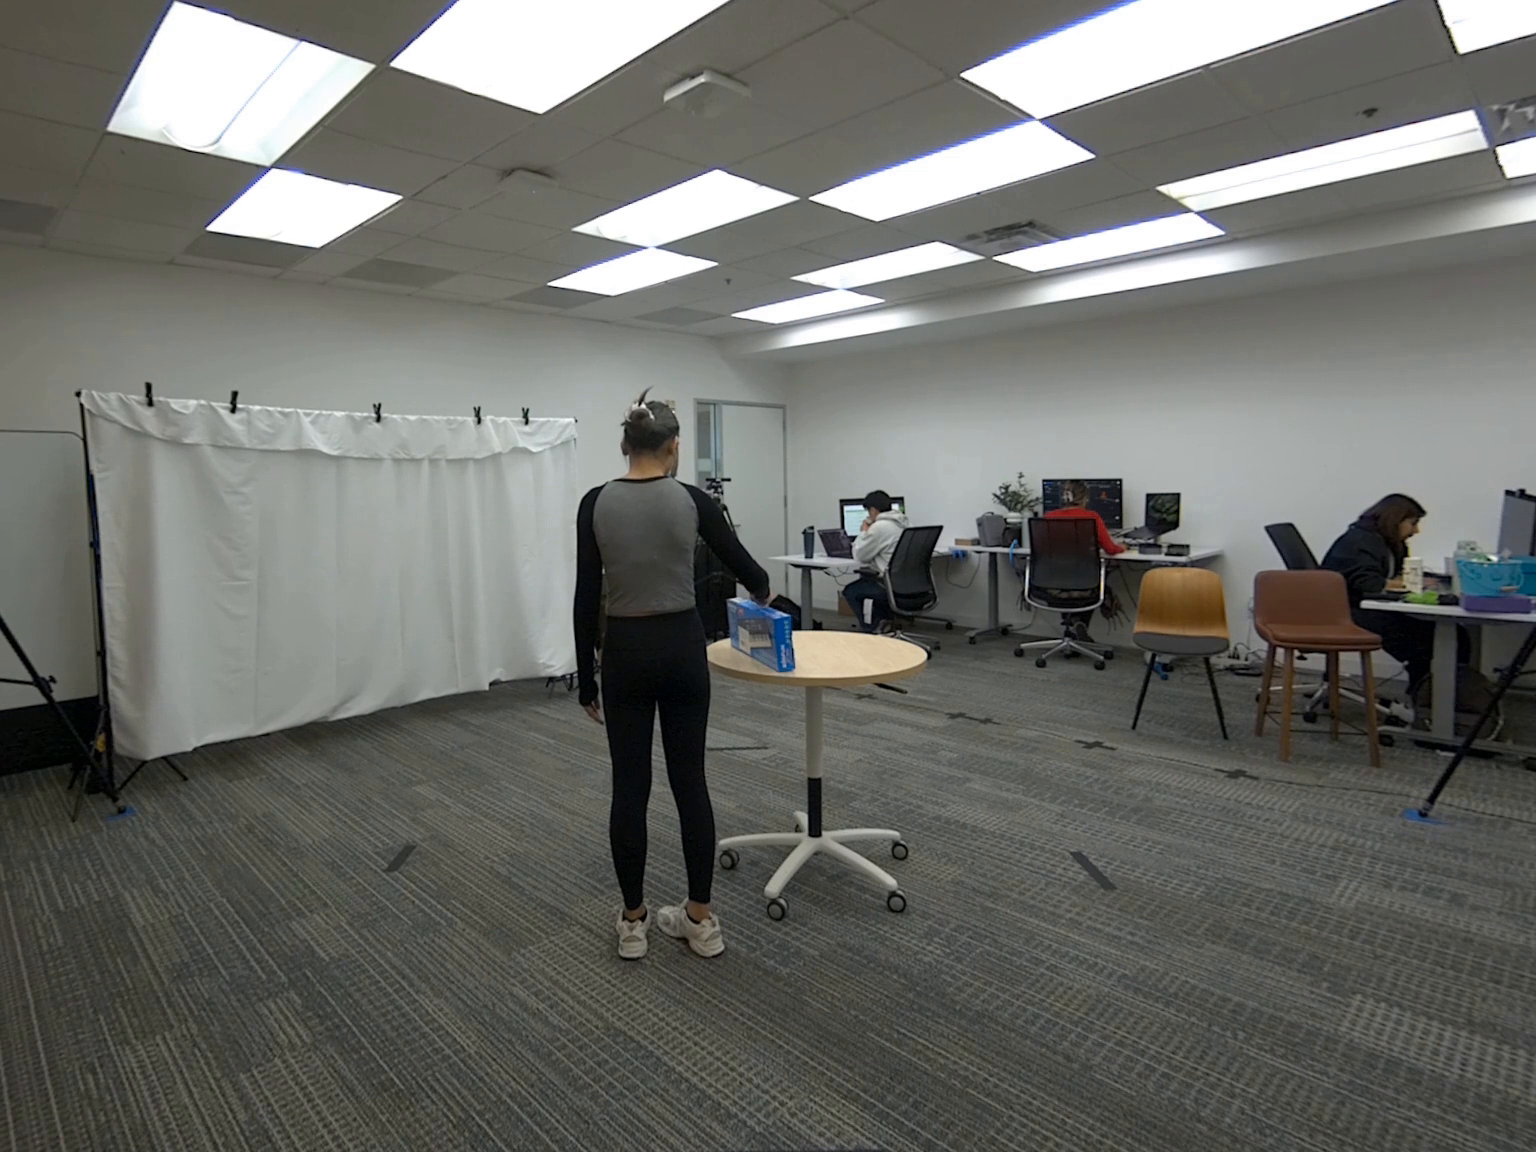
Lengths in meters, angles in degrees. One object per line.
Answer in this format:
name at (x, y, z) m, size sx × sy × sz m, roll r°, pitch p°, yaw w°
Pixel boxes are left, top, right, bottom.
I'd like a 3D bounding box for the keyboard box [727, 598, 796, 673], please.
keyboard box at (-0.028, 0.190, 2.854) m, size 0.058 × 0.175 × 0.447 m, roll -6°, pitch 8°, yaw -20°
